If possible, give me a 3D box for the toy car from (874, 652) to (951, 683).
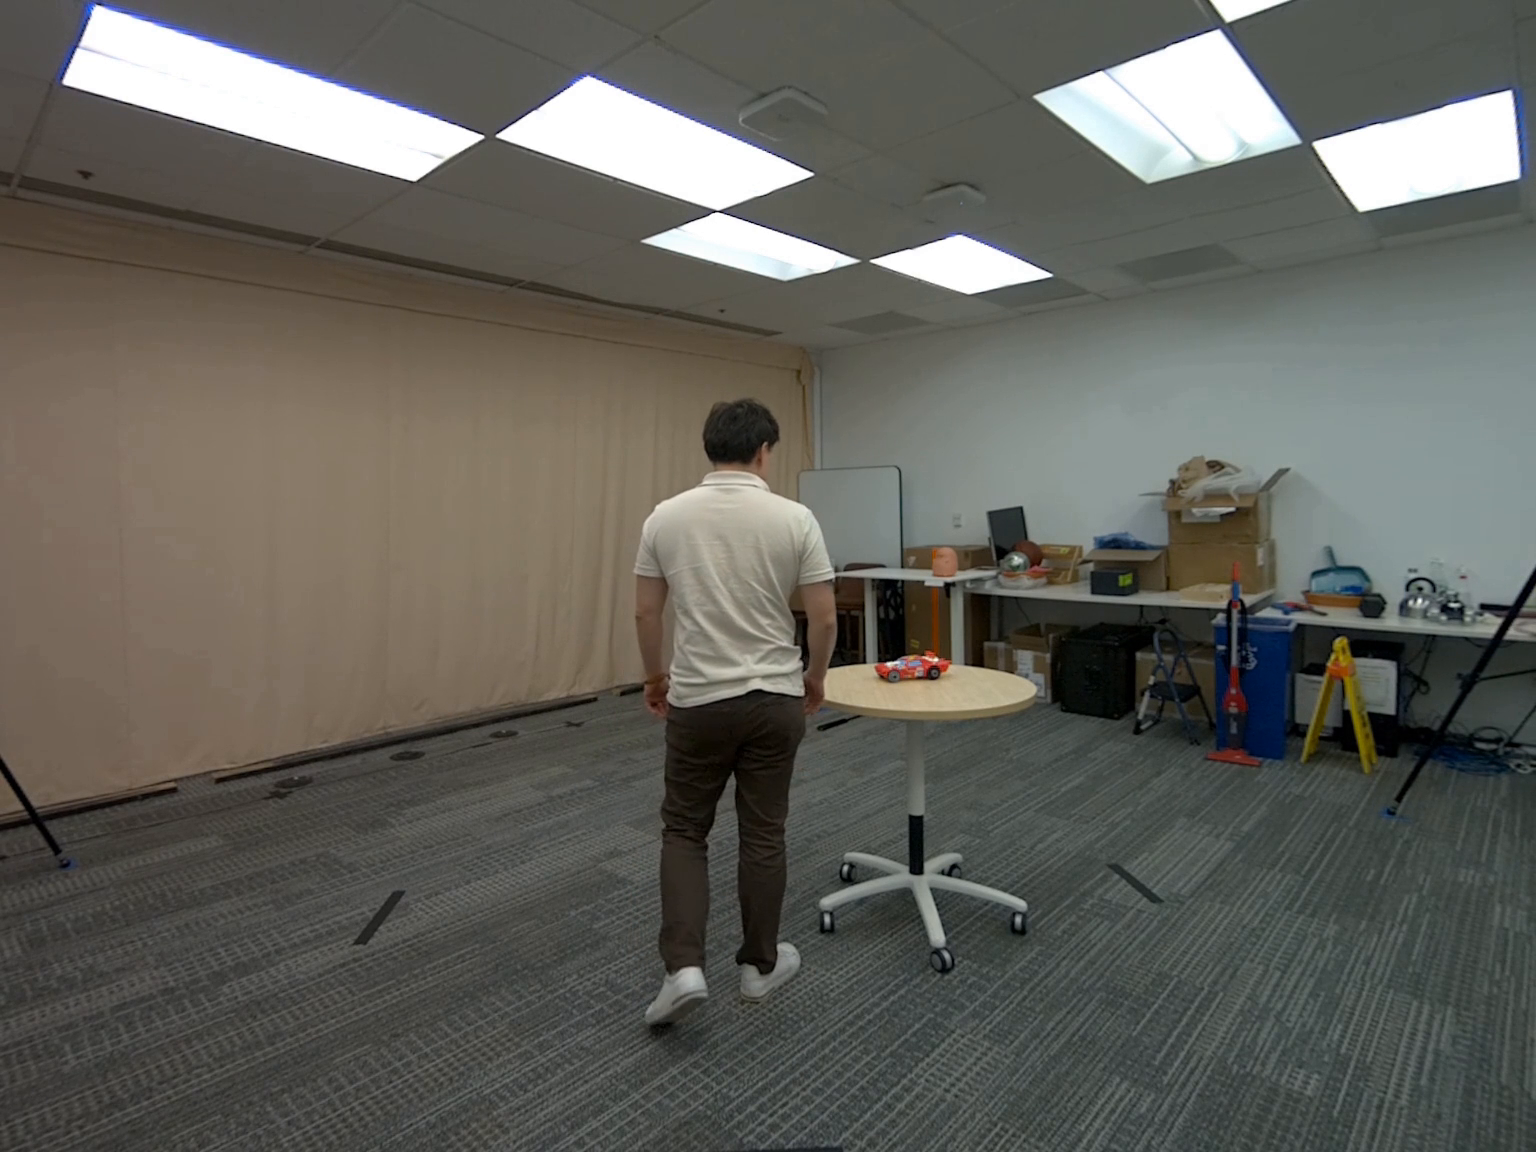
[{"bbox_3d":[0.513,0.319,2.906,0.252,0.083,0.132,-14,6,-11],"label":"toy car"}]
